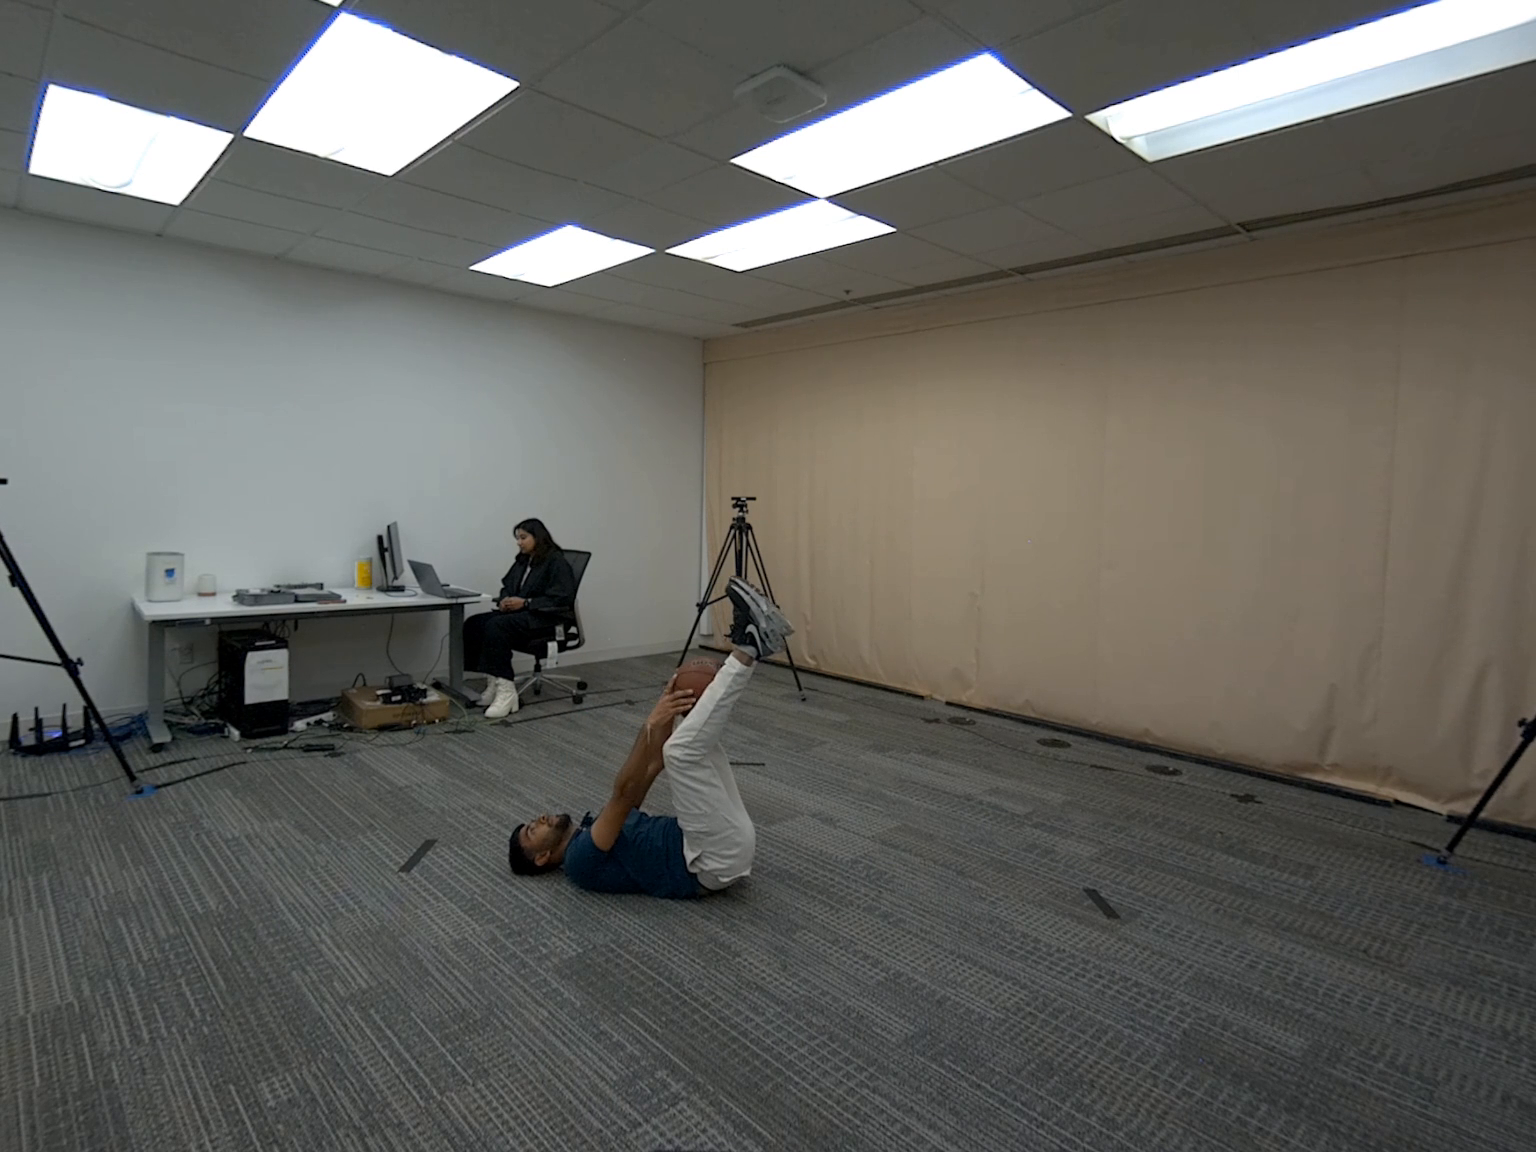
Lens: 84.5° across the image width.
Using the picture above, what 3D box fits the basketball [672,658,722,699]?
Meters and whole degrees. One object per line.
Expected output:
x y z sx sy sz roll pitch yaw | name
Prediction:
-0.251 0.392 2.984 0.236 0.235 0.237 1 4 -1 | basketball
